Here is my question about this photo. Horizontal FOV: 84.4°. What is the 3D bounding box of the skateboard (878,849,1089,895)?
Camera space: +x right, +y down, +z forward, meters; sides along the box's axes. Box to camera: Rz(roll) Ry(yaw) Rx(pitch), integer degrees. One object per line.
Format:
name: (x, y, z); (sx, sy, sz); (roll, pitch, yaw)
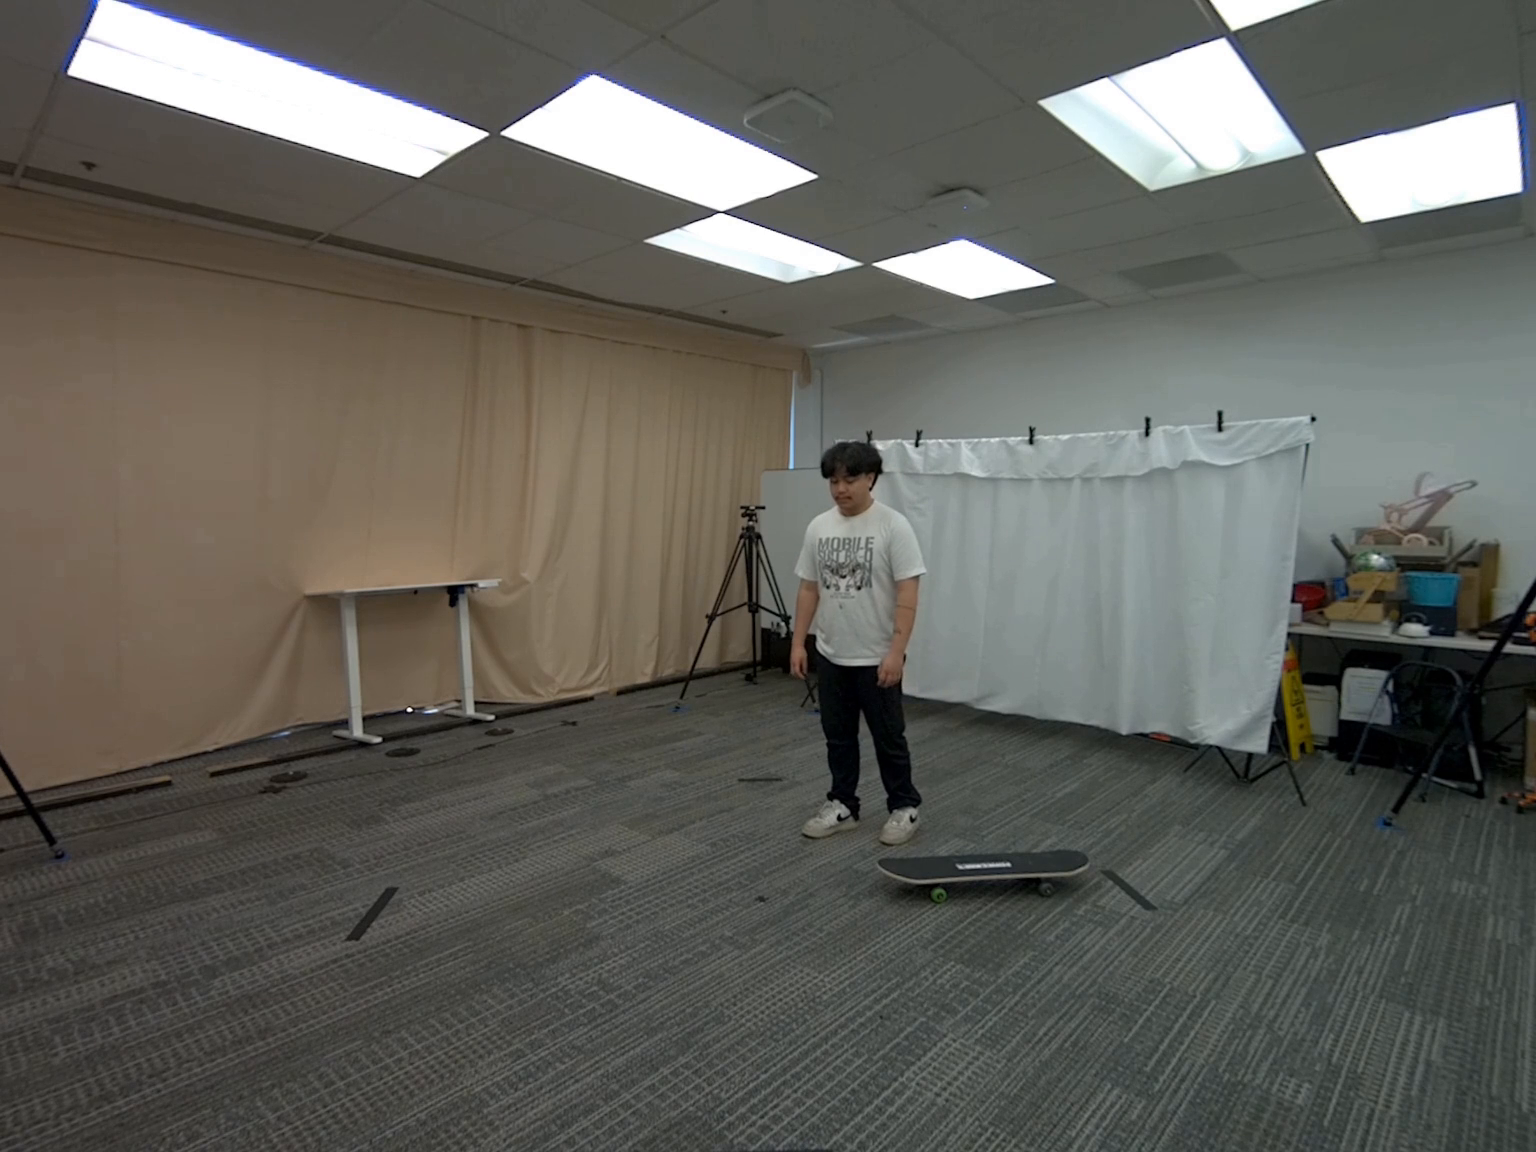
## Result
skateboard: (0.783, 1.079, 3.047); (0.779, 0.110, 0.195); (-1, 5, -7)
